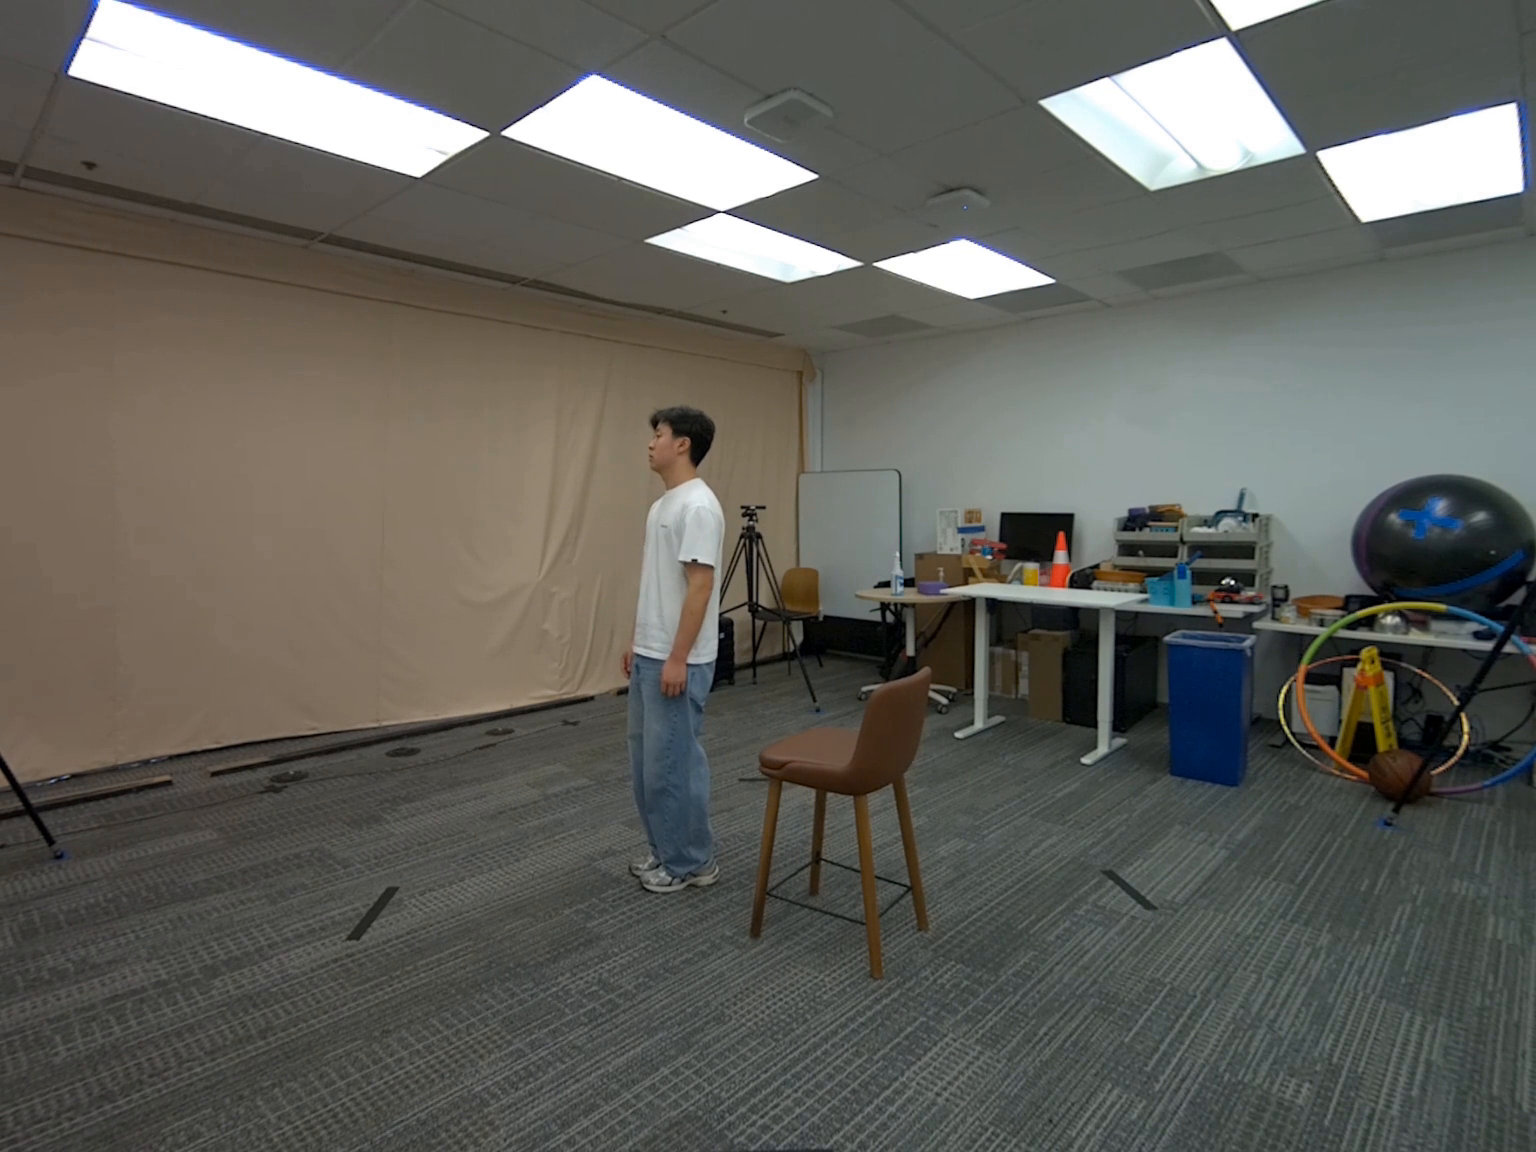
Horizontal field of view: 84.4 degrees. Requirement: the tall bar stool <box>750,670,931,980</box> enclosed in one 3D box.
[{"bbox_3d":[0.245,0.728,2.720,0.483,0.887,0.443,5,6,35],"label":"tall bar stool"}]
